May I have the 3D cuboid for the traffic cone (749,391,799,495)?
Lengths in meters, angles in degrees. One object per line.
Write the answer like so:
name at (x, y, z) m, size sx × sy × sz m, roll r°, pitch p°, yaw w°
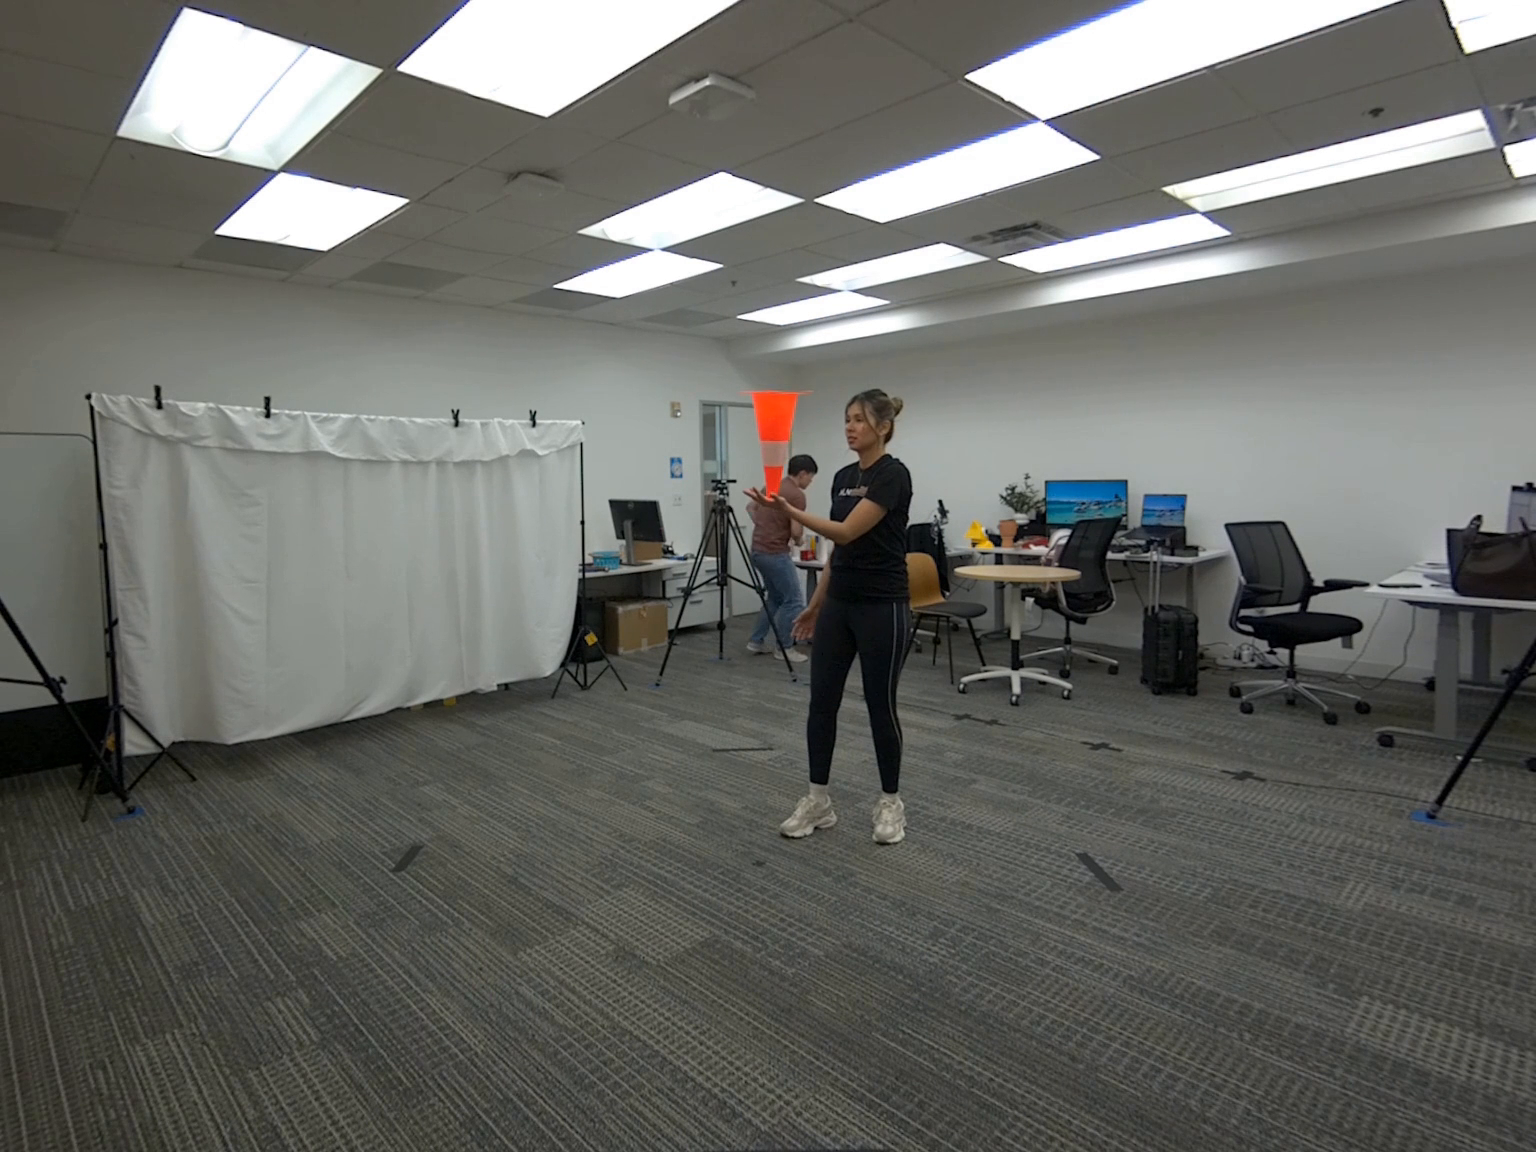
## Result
traffic cone at (0.026, -0.454, 2.996) m, size 0.200 × 0.381 × 0.209 m, roll -4°, pitch 9°, yaw -30°
